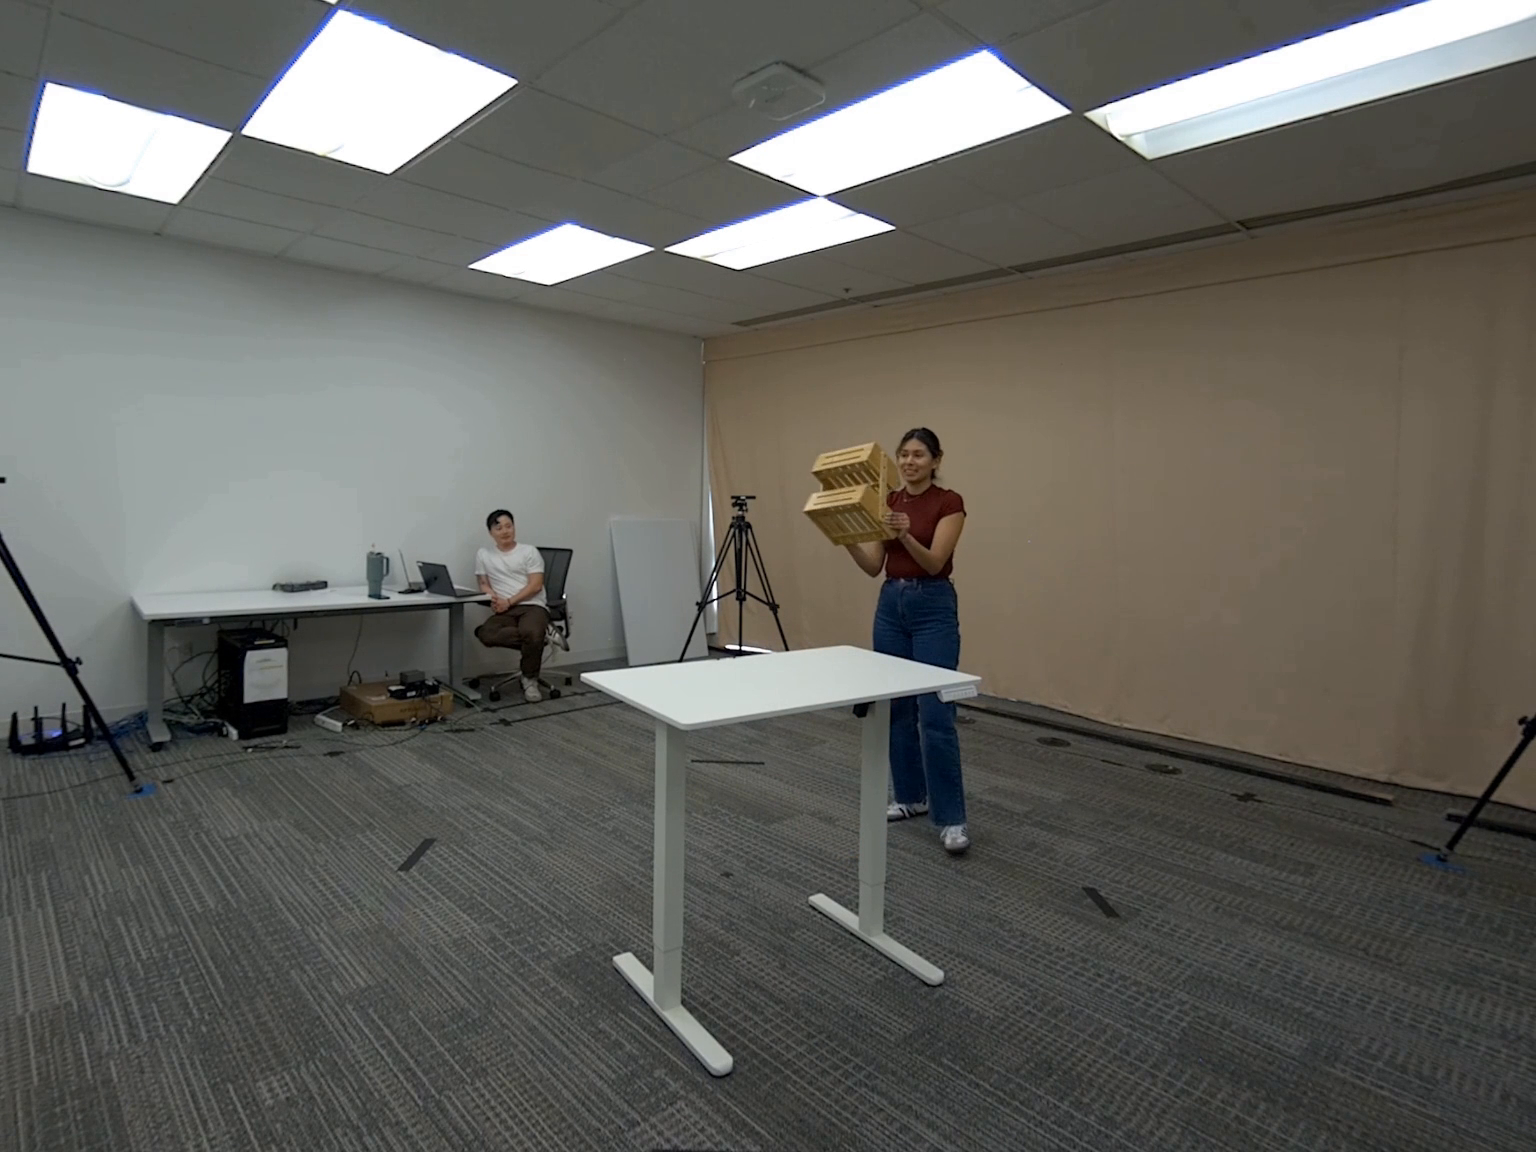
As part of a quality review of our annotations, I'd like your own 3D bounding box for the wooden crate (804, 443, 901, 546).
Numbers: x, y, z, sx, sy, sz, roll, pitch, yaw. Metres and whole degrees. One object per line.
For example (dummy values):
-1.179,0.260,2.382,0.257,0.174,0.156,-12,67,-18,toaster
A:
0.351,-0.316,3.362,0.331,0.275,0.294,-6,-41,48,wooden crate
